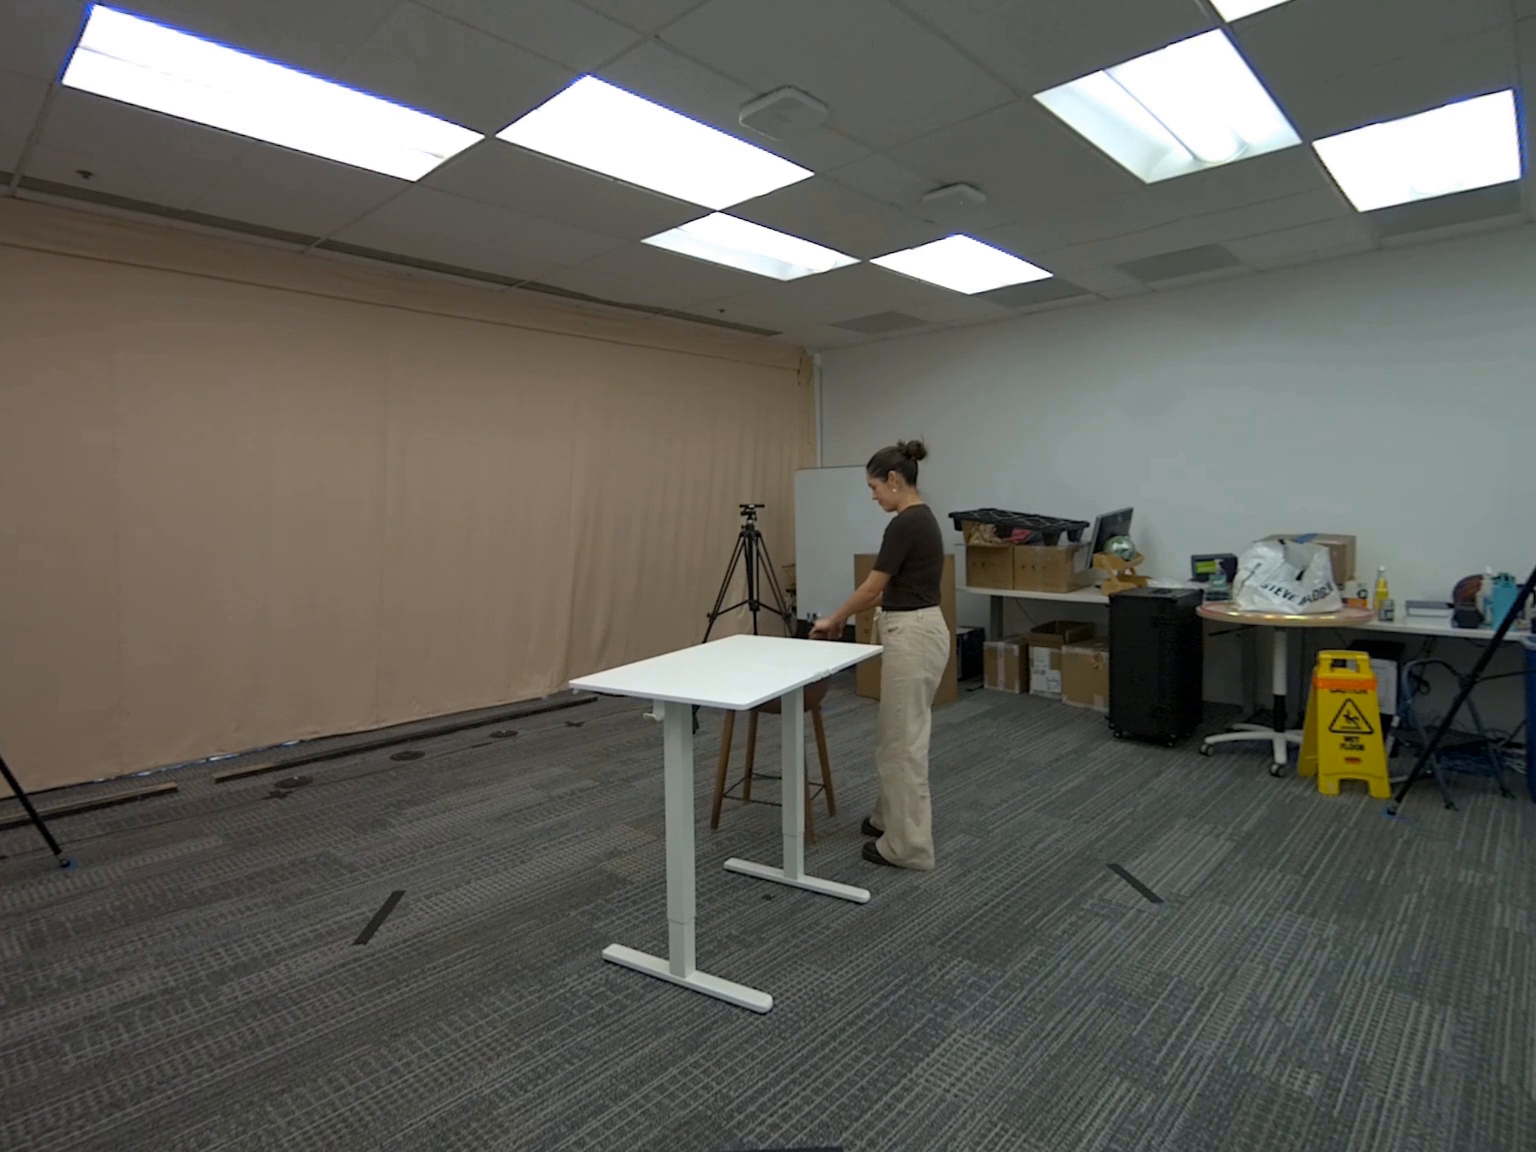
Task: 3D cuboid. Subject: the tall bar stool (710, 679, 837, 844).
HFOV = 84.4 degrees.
[{"bbox_3d":[0.053,0.639,3.653,0.478,0.887,0.447,4,4,21],"label":"tall bar stool"}]
